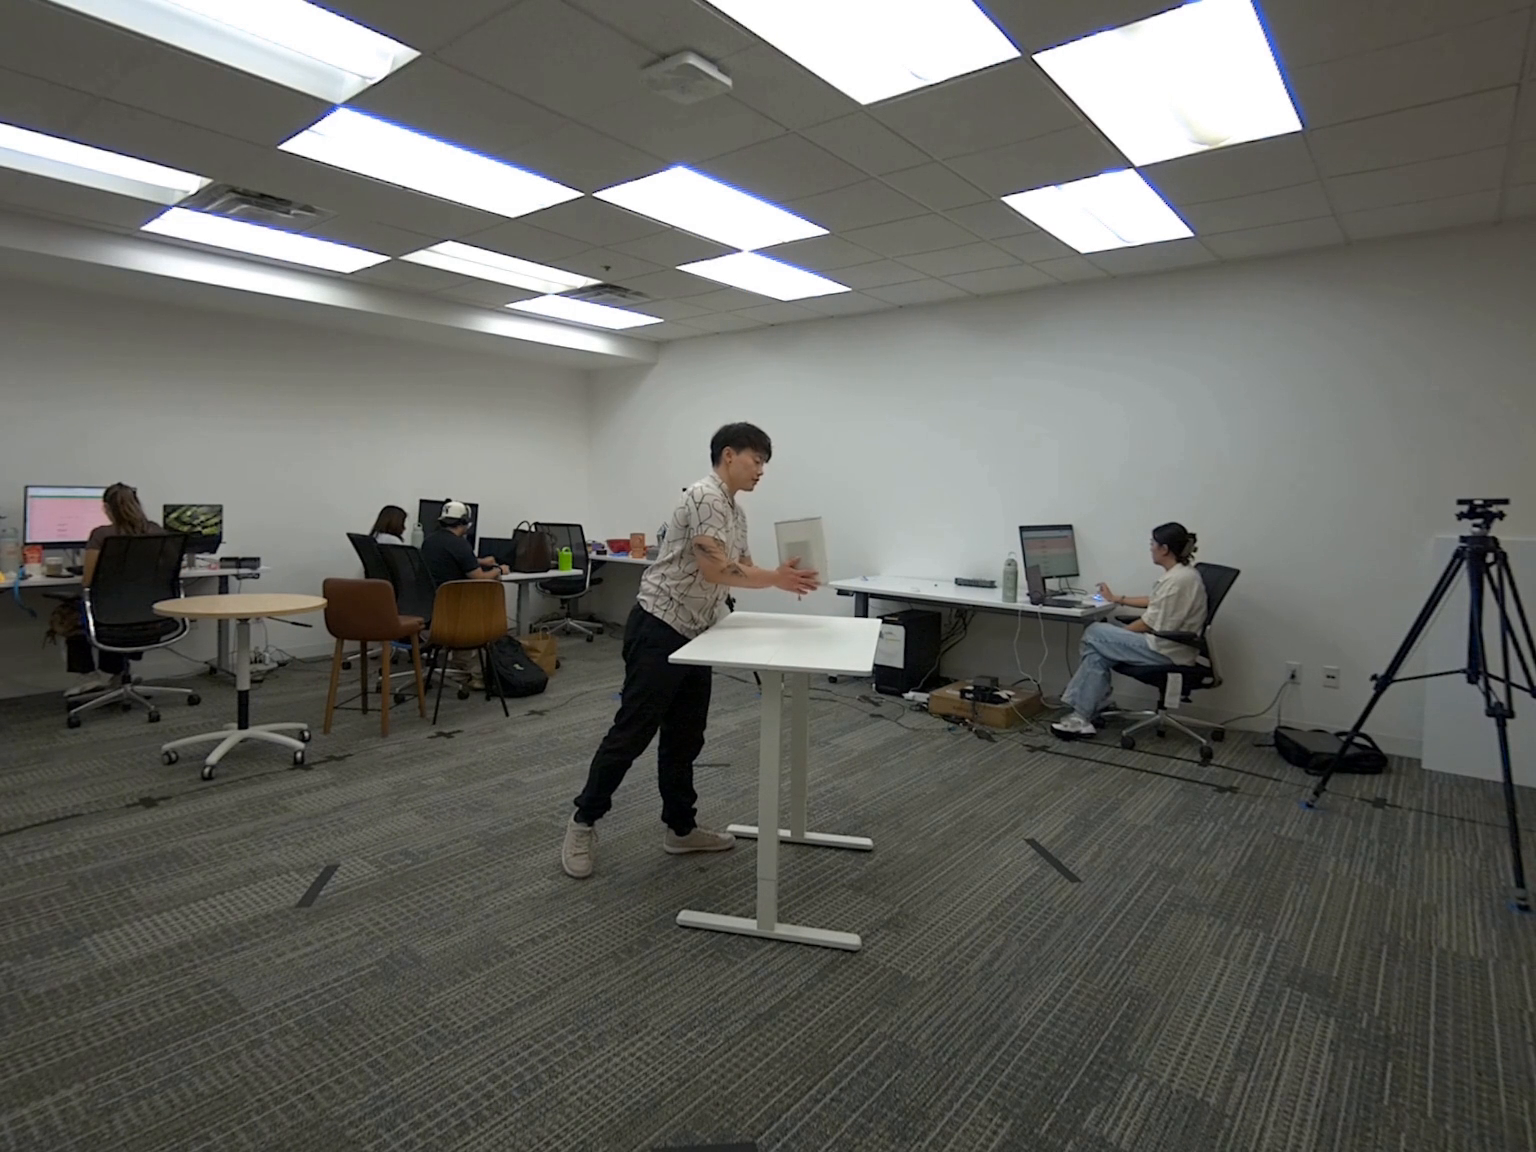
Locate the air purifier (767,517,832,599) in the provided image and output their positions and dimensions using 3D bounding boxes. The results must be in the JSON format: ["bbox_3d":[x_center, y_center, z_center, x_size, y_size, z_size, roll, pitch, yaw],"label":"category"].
[{"bbox_3d":[0.118,-0.073,3.164,0.174,0.264,0.169,-8,4,15],"label":"air purifier"}]
